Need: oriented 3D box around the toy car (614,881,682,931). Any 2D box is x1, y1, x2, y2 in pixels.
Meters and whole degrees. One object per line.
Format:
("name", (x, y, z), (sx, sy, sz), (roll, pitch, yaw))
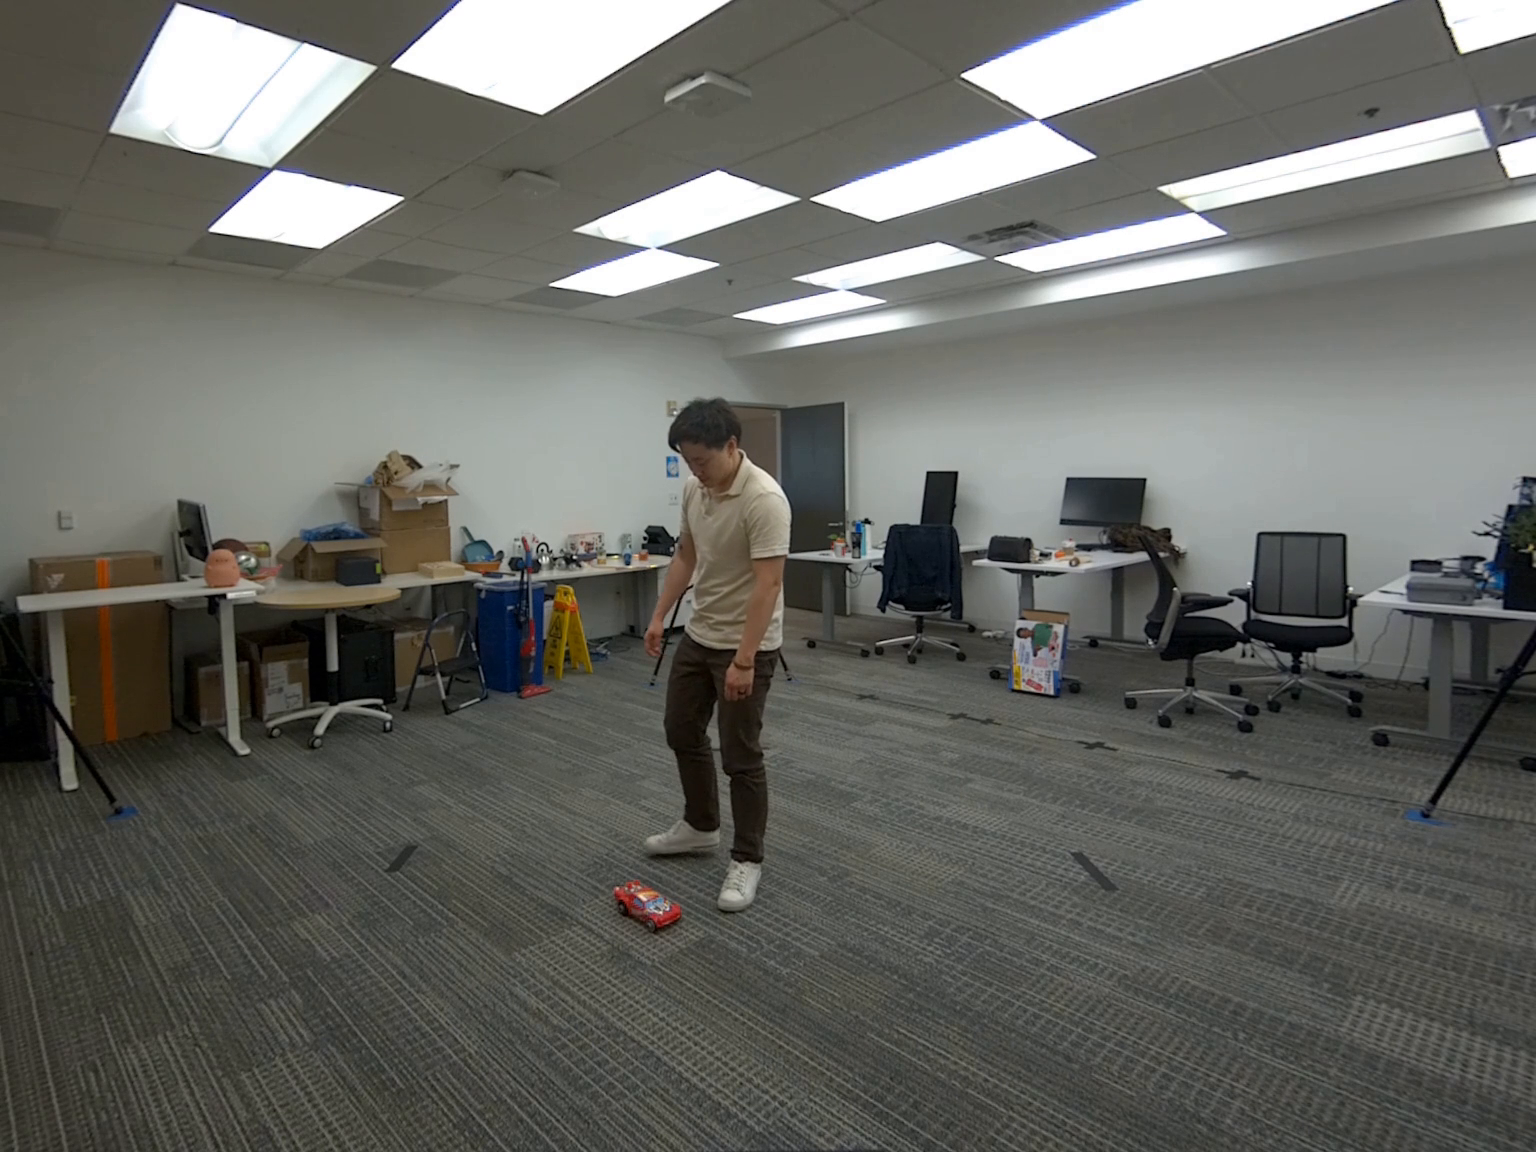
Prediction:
("toy car", (-0.389, 1.060, 2.749), (0.127, 0.082, 0.264), (-8, 20, -43))
